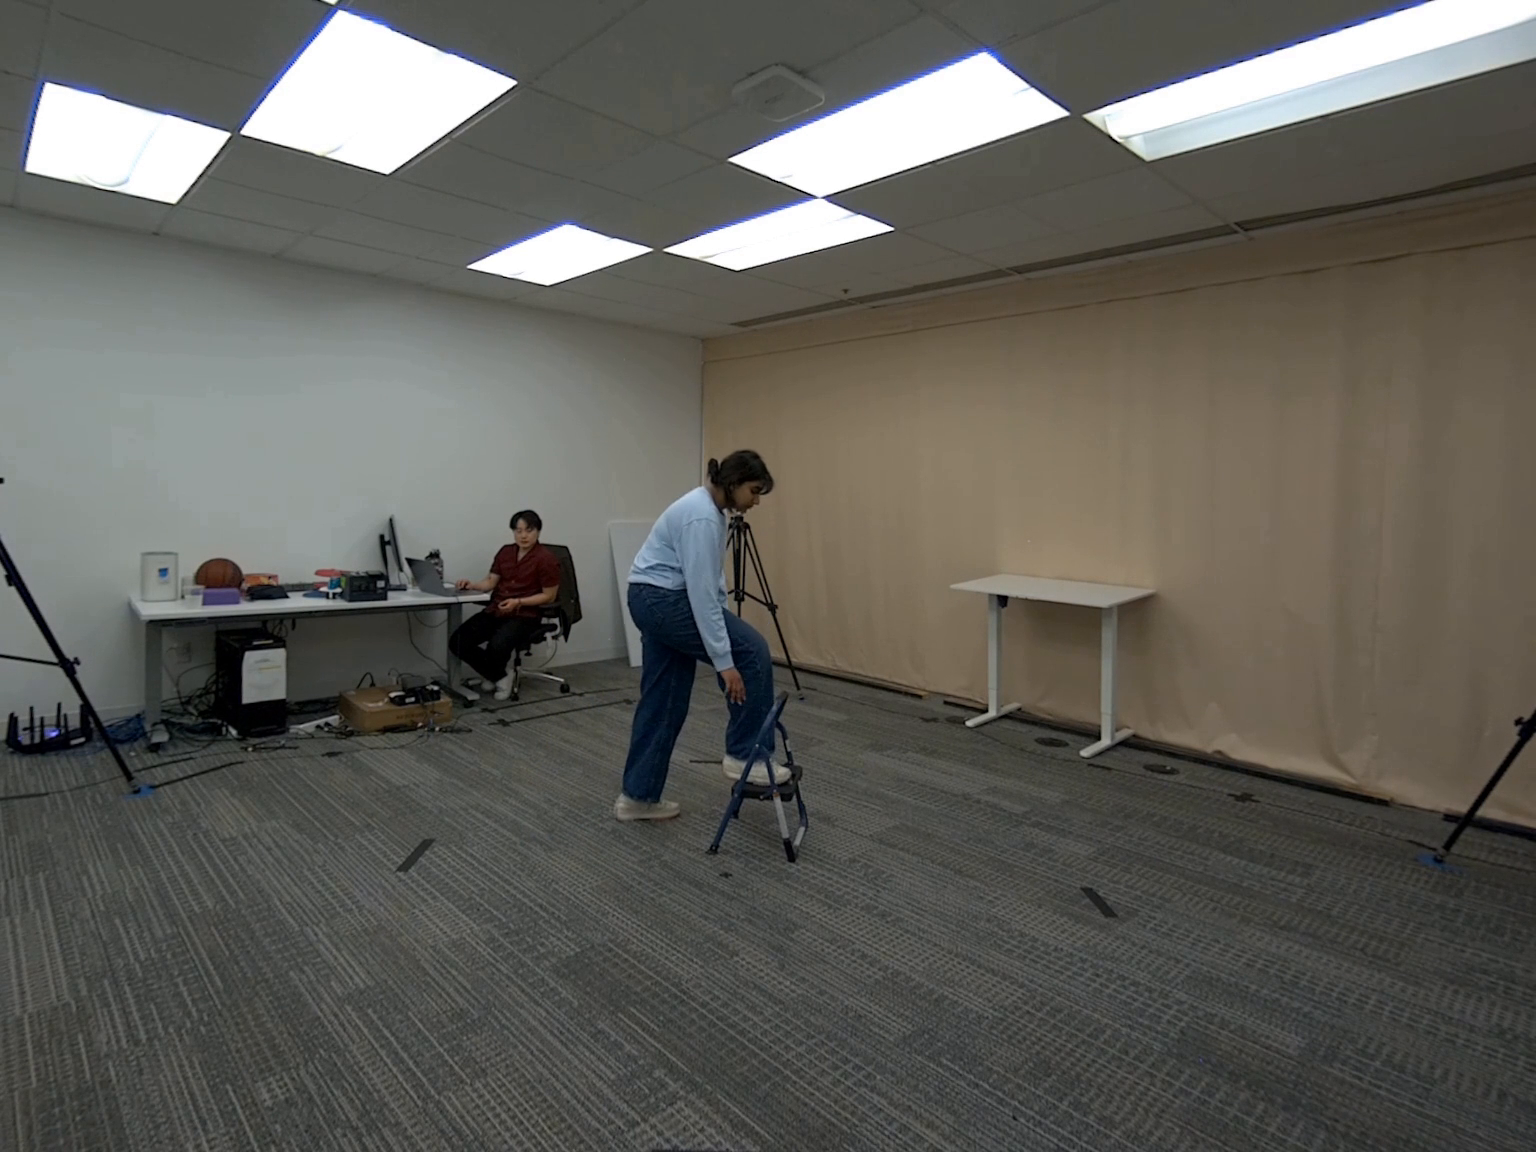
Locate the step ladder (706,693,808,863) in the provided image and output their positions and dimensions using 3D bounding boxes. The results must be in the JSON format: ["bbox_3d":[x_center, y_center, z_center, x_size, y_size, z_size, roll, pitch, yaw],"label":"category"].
[{"bbox_3d":[-0.029,0.779,3.434,0.353,0.604,0.427,2,4,11],"label":"step ladder"}]
